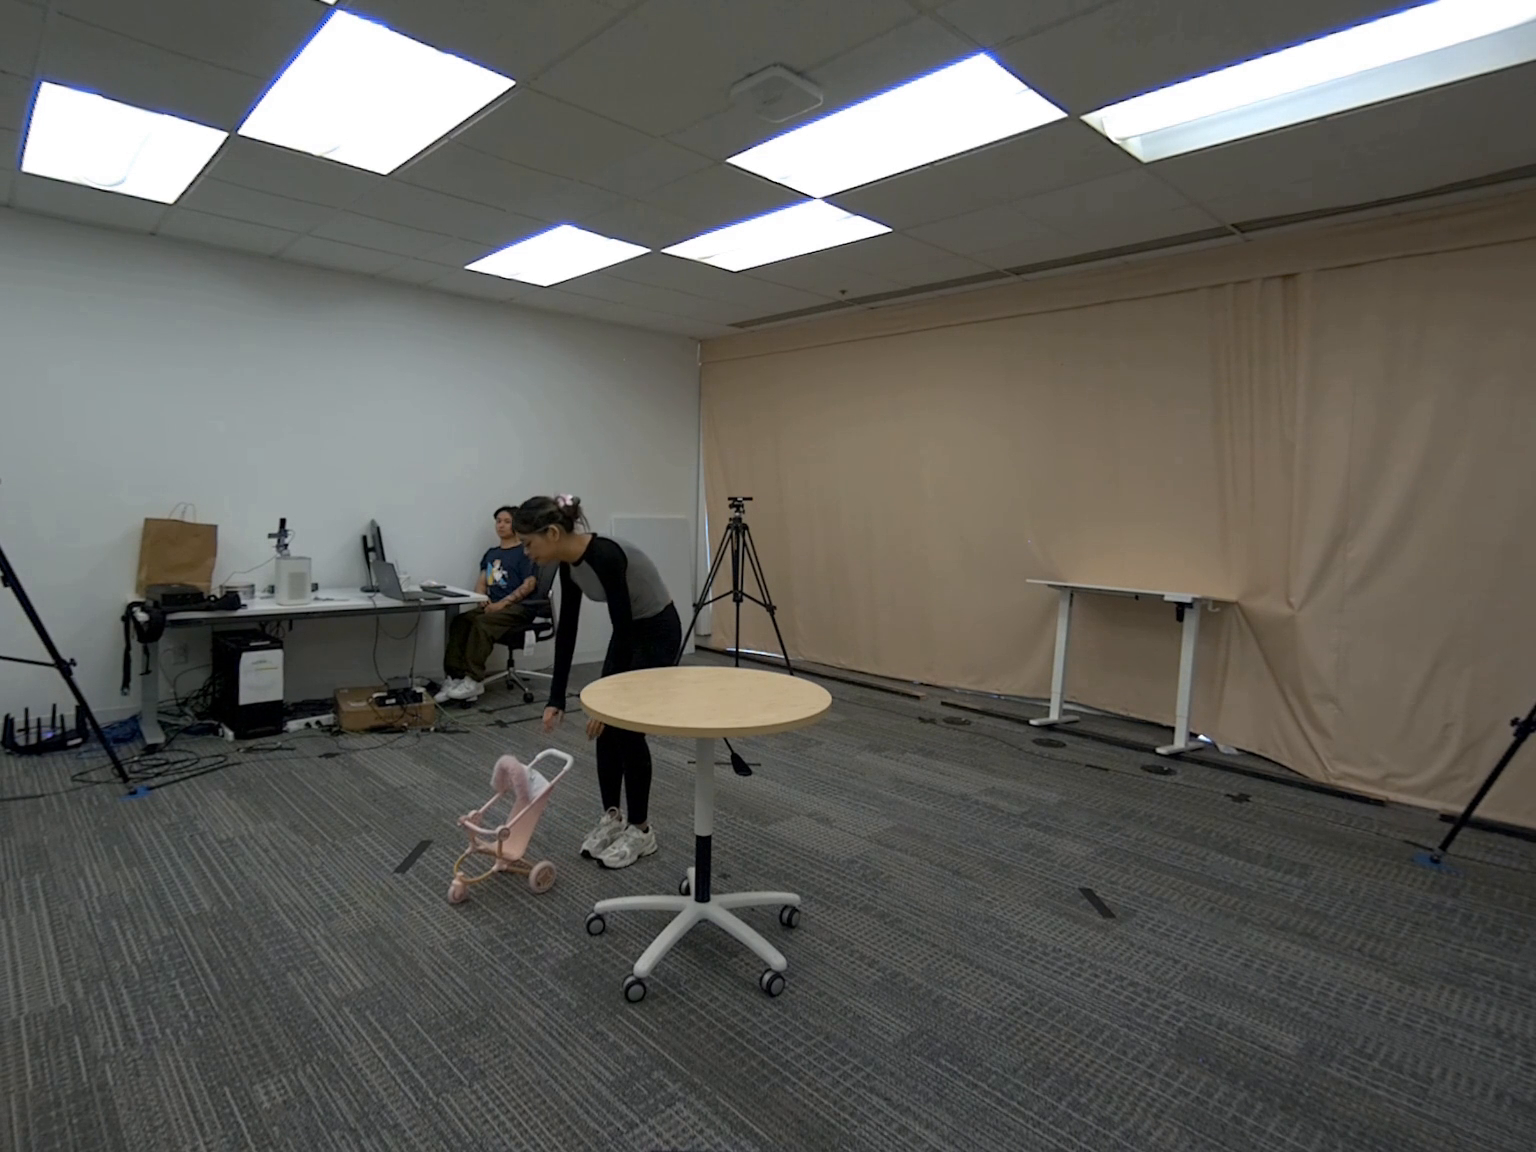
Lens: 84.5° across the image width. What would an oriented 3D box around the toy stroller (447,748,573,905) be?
[{"bbox_3d":[-0.929,0.878,2.973,0.331,0.537,0.288,18,-8,-41],"label":"toy stroller"}]
